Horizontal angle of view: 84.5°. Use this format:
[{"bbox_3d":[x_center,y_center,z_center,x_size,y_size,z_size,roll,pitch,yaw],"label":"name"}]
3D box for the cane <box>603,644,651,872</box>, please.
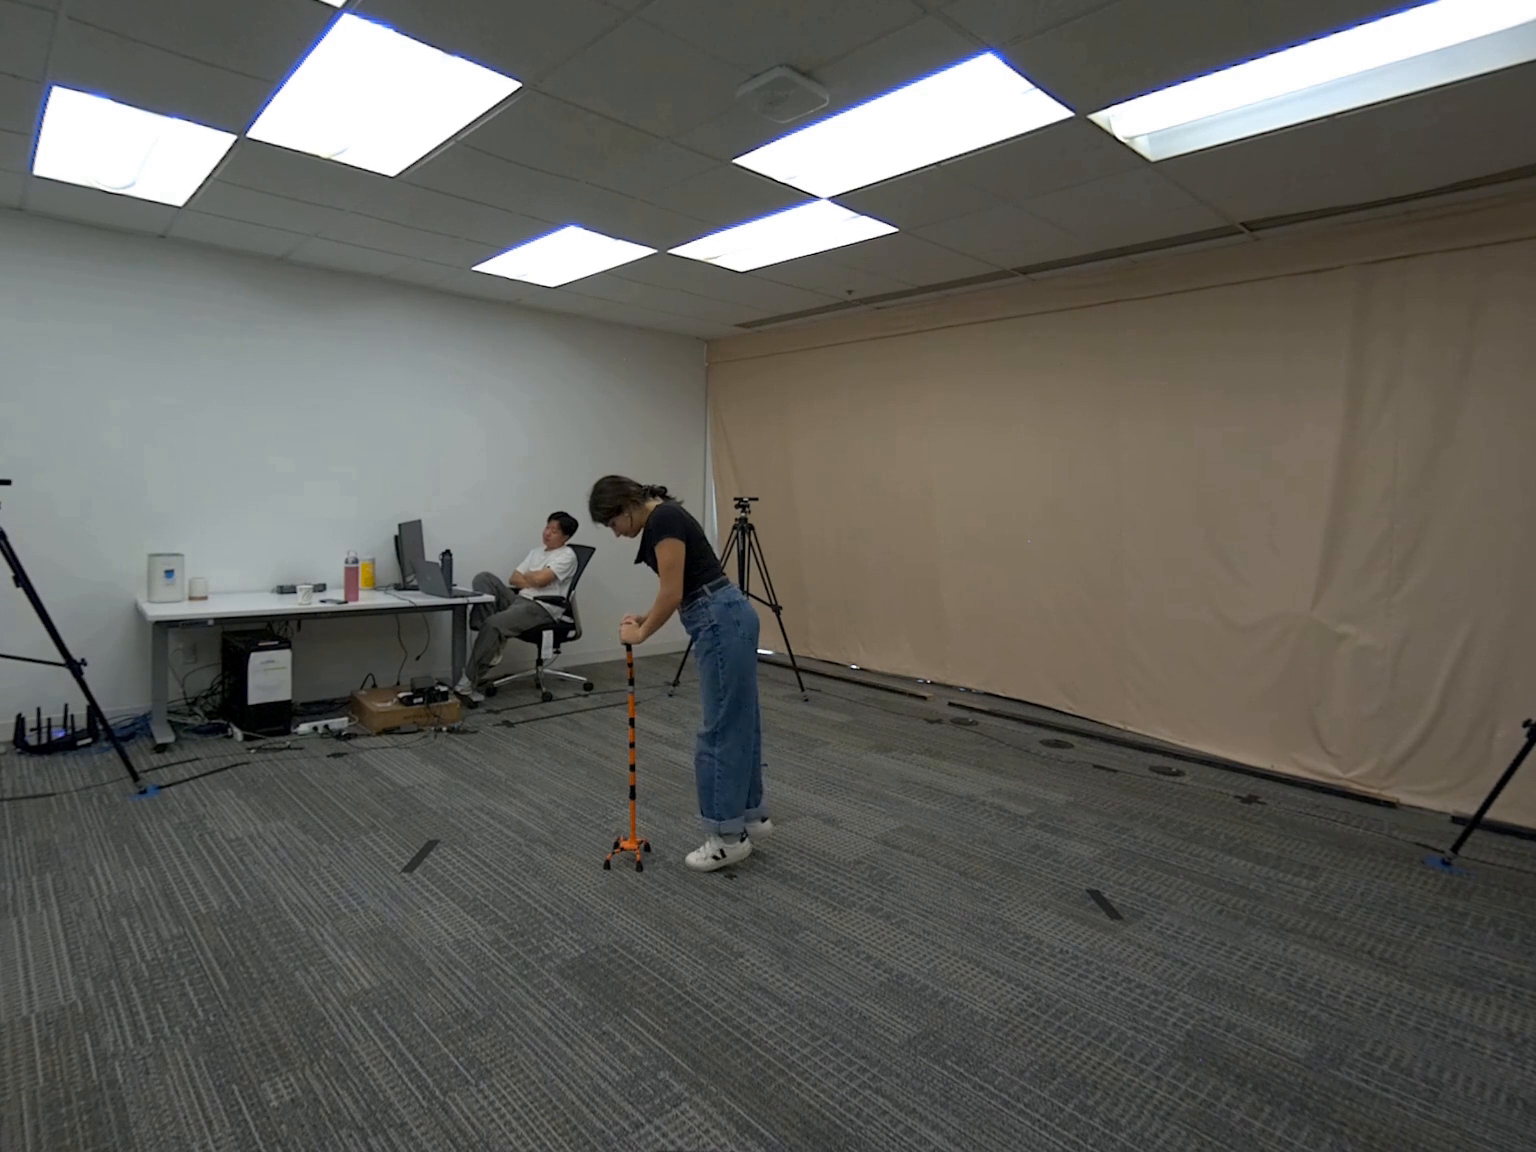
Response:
[{"bbox_3d":[-0.543,0.629,3.208,0.152,0.906,0.206,0,3,2],"label":"cane"}]
